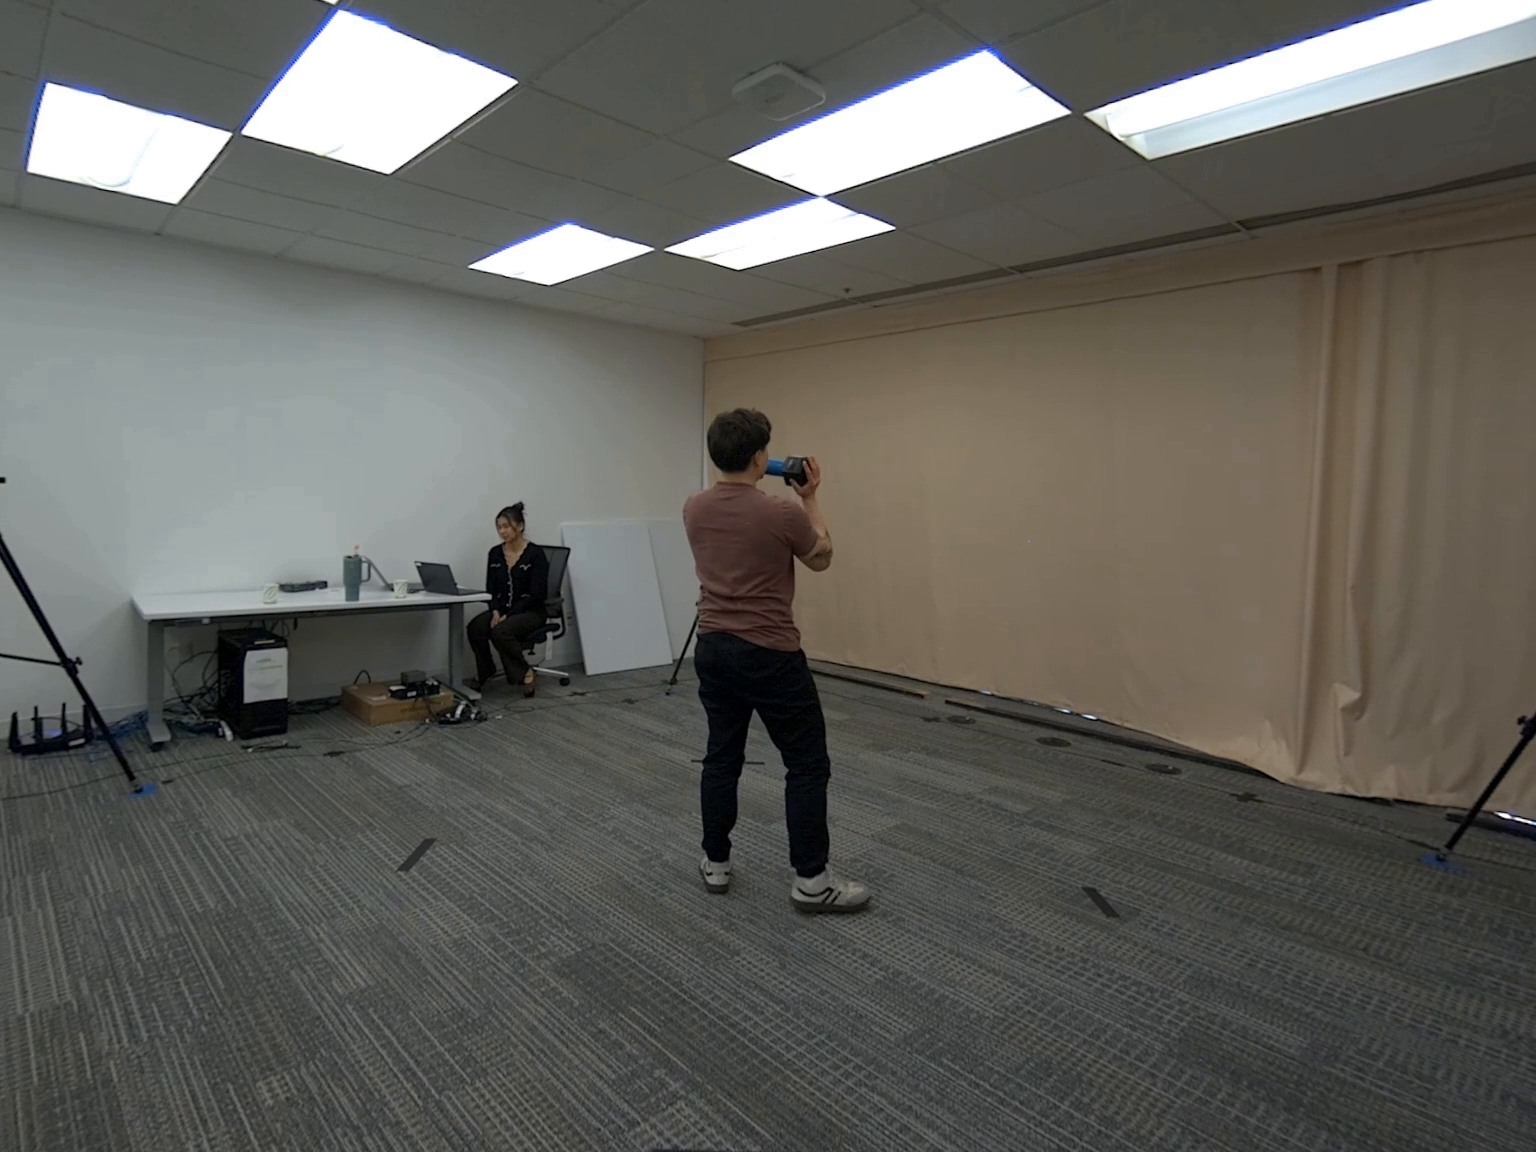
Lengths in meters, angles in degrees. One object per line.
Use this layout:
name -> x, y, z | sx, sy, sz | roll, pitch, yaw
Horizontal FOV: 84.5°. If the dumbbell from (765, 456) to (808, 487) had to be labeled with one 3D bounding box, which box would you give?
dumbbell -> 0.015, -0.387, 3.038 | 0.301, 0.123, 0.105 | 14, -11, 37
